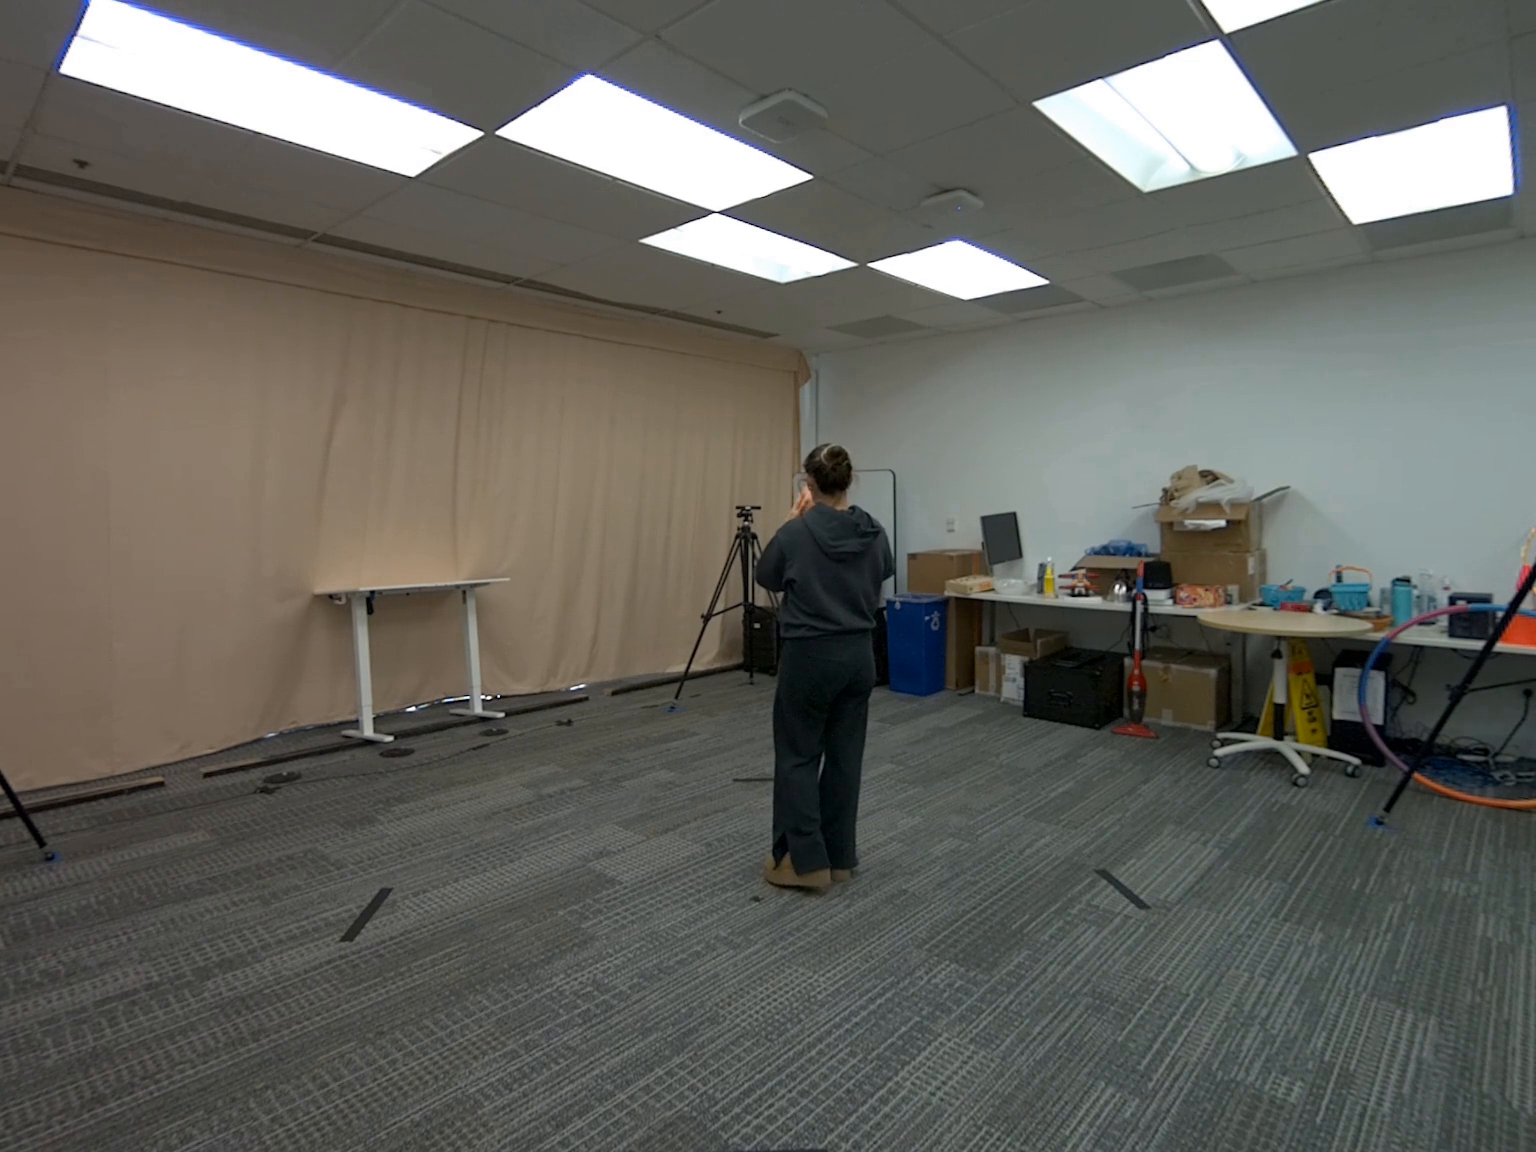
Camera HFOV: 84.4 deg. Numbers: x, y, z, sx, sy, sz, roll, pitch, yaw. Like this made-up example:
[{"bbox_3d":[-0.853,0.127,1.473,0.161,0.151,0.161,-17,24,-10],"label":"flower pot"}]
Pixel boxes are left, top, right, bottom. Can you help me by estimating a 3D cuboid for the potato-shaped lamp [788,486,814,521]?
[{"bbox_3d":[0.210,-0.298,3.372,0.168,0.198,0.167,40,-40,-17],"label":"potato-shaped lamp"}]
